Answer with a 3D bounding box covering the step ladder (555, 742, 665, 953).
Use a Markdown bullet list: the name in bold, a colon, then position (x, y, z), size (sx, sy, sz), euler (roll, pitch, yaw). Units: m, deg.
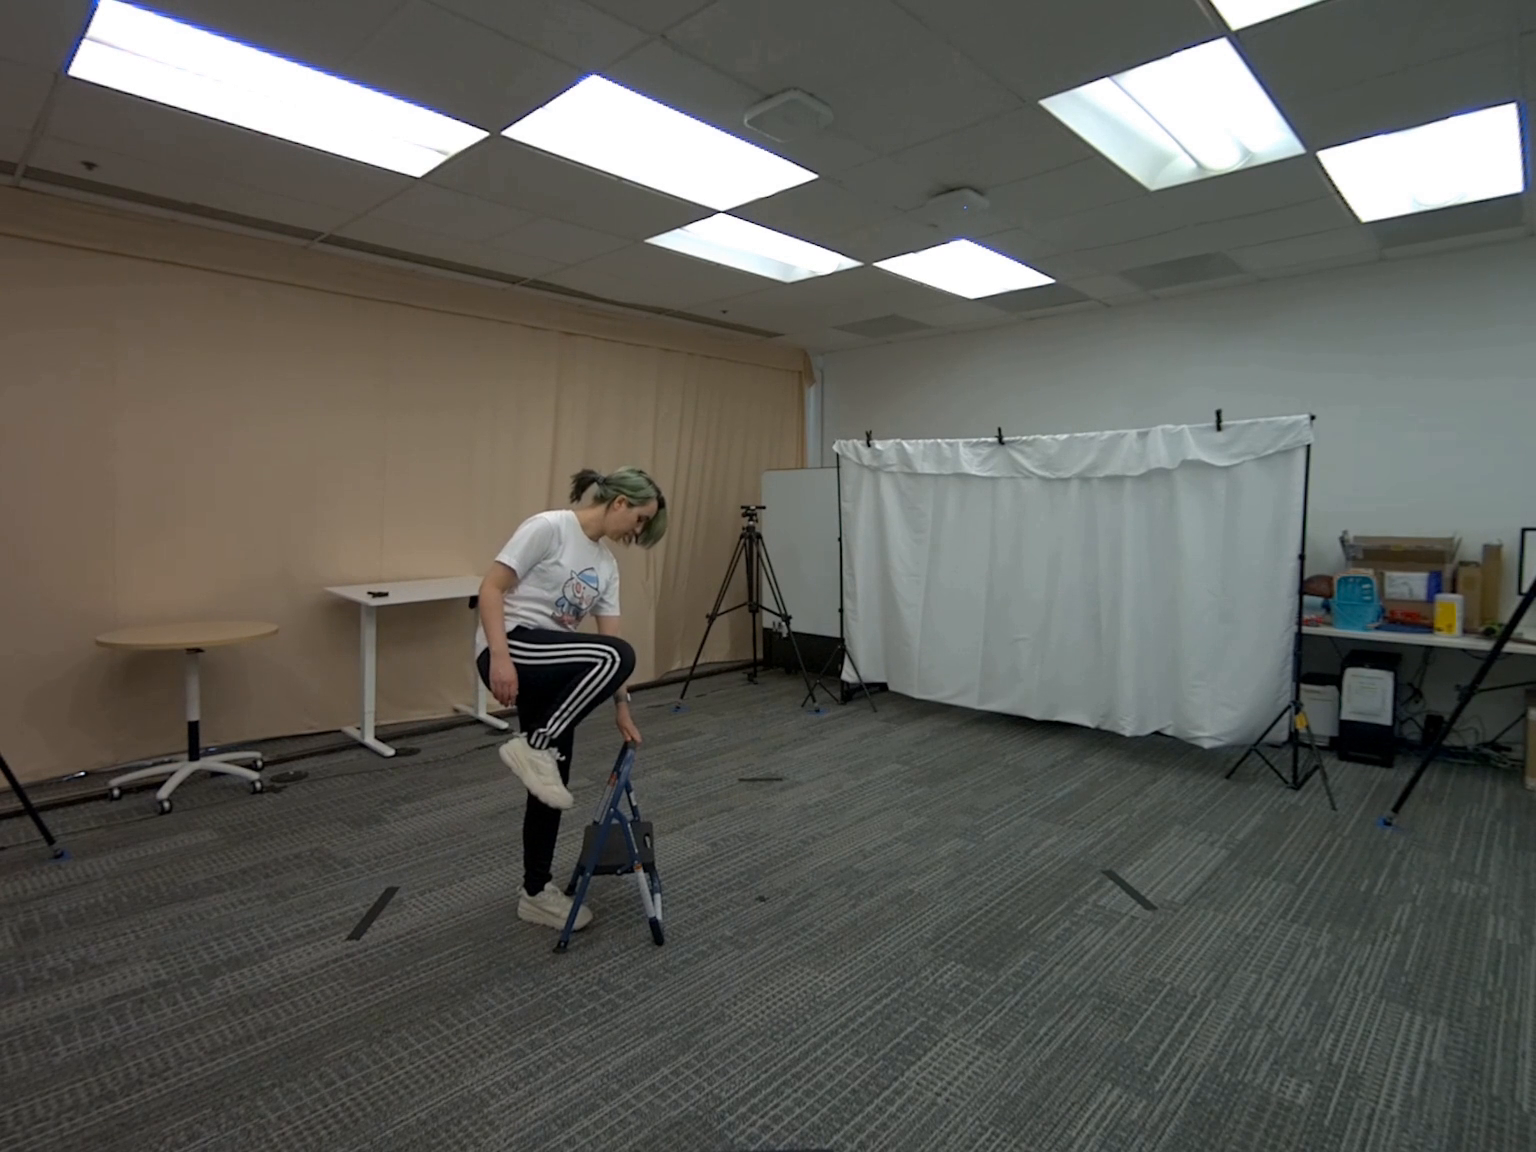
- **step ladder**: position (-0.533, 0.860, 2.836), size (0.346, 0.605, 0.435), euler (-1, 3, -8)
